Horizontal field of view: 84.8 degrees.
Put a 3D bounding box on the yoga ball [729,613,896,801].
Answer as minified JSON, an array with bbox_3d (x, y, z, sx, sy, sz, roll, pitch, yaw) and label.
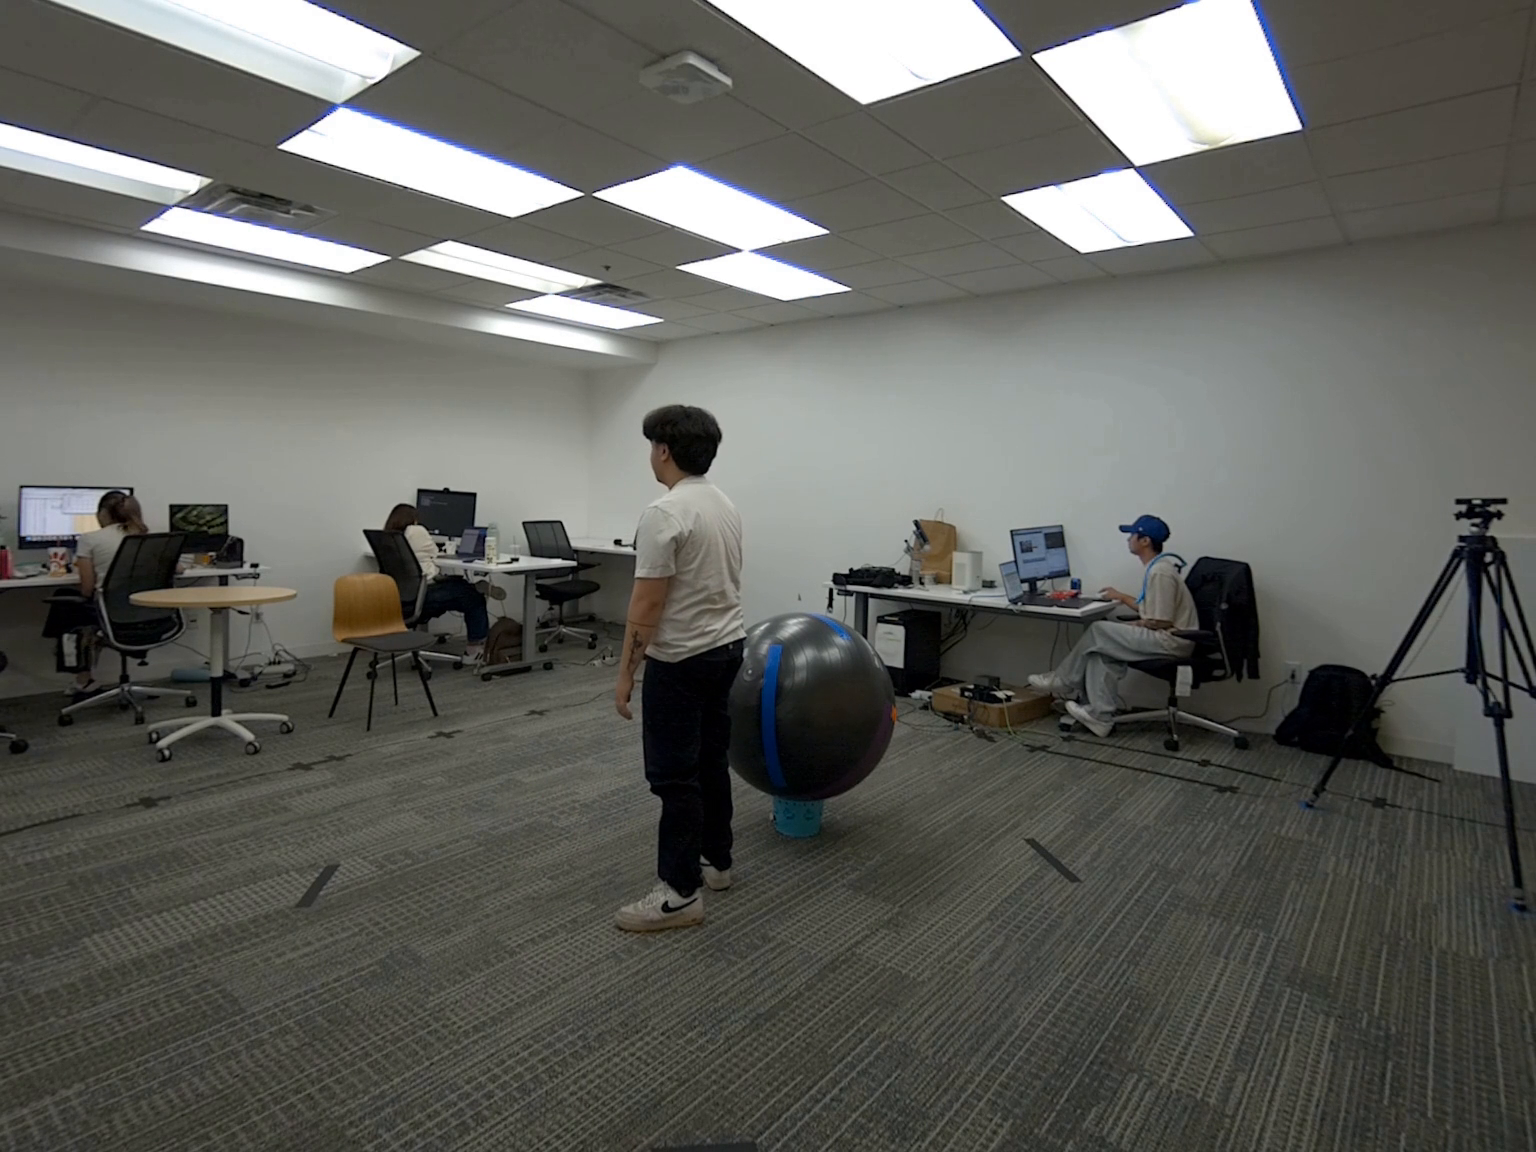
[{"bbox_3d":[0.129,0.529,3.482,0.757,0.755,0.762,1,4,-2],"label":"yoga ball"}]
